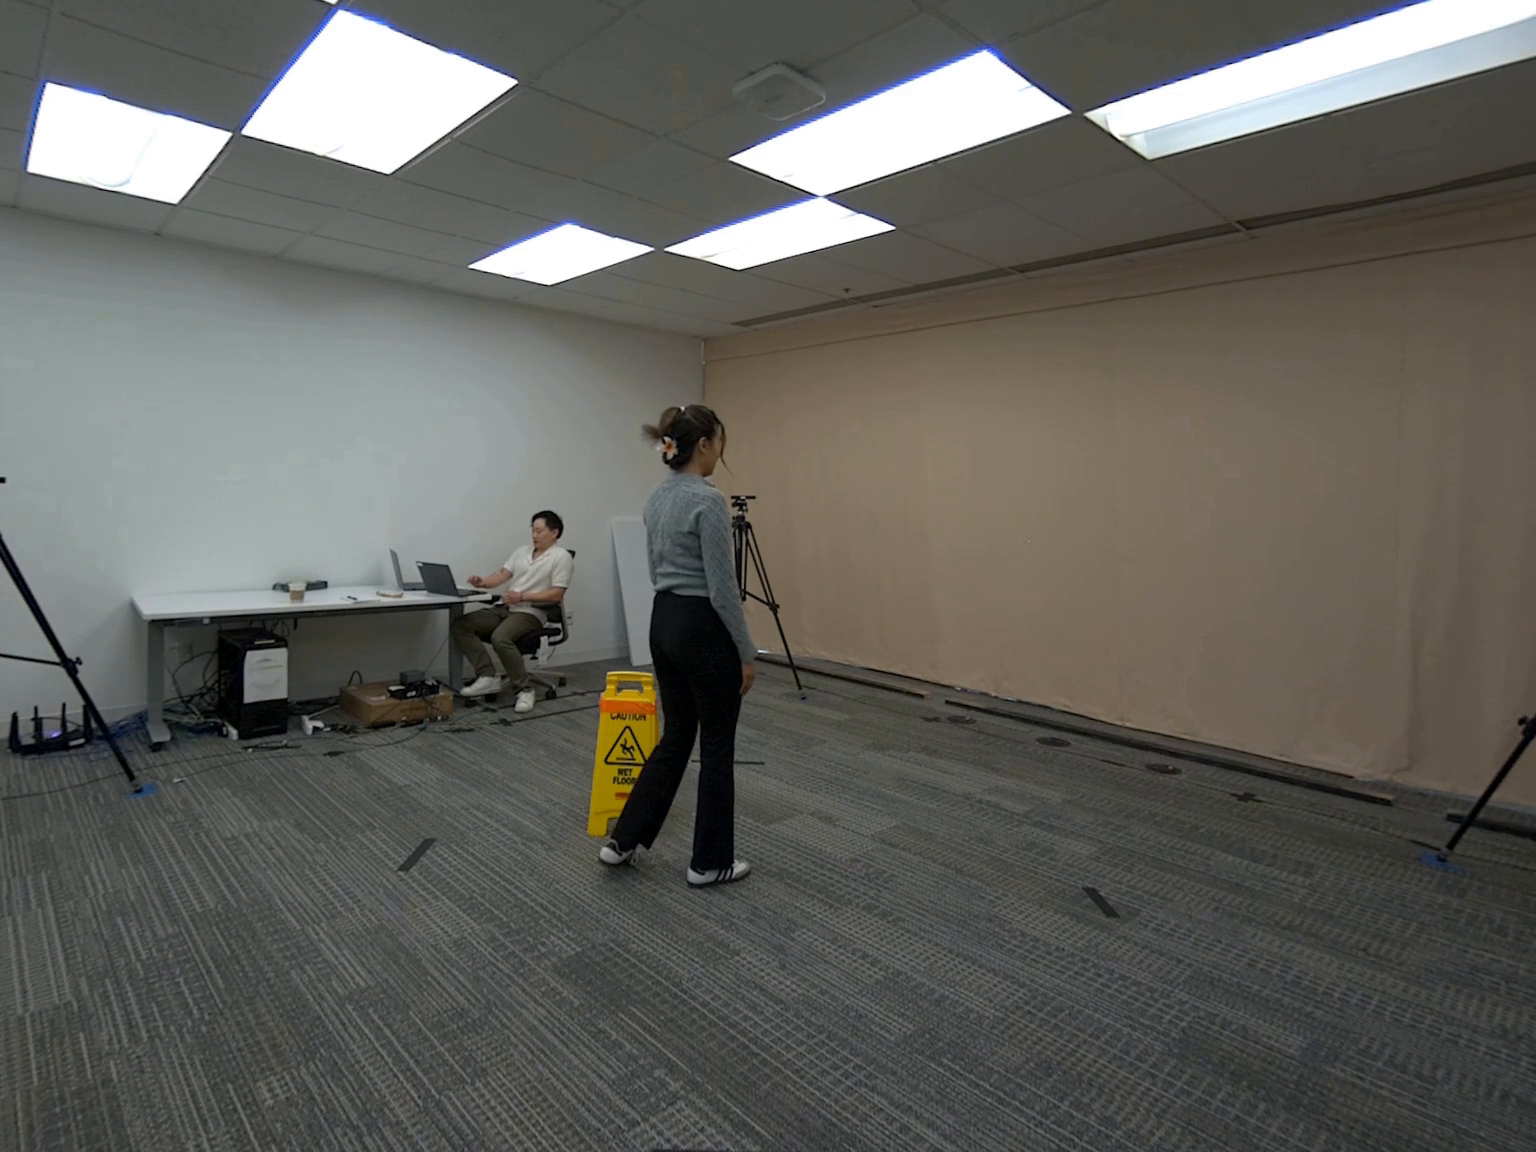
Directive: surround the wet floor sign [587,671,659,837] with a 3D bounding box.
[{"bbox_3d":[-0.596,0.728,3.562,0.282,0.645,0.290,3,3,0],"label":"wet floor sign"}]
